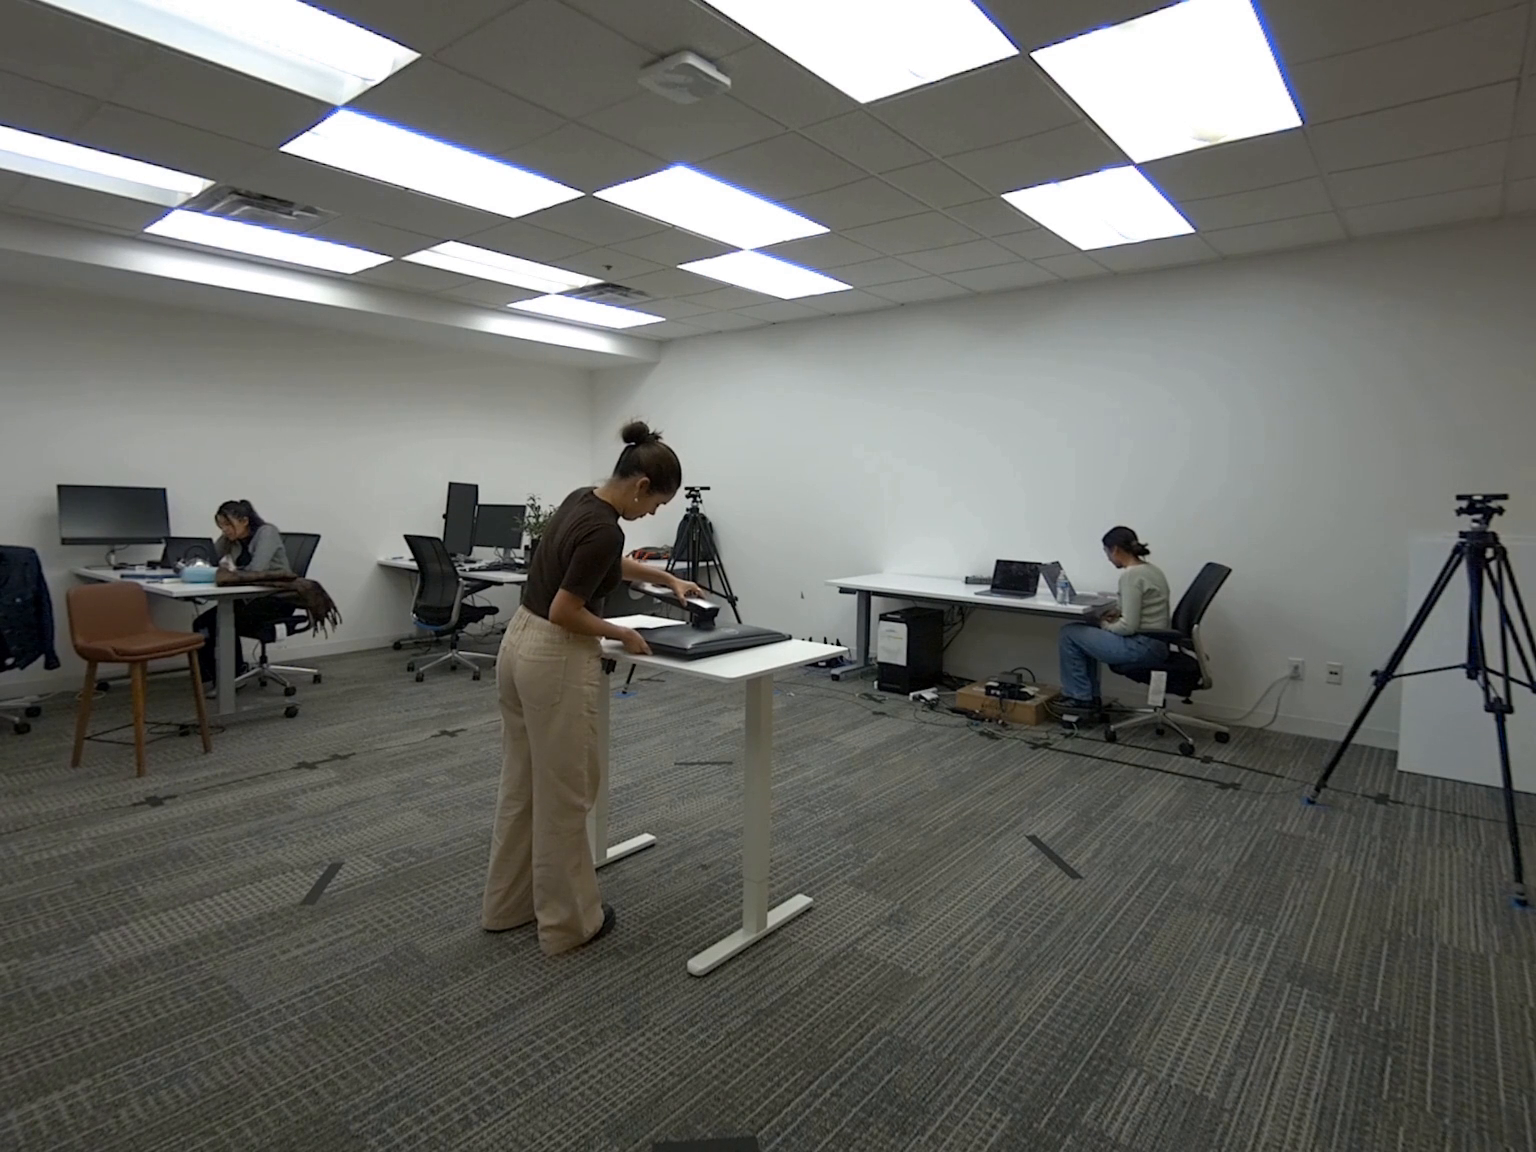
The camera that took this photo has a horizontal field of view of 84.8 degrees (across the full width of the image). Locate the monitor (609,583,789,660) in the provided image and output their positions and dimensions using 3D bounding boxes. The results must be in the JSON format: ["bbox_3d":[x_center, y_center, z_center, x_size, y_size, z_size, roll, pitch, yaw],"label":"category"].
[{"bbox_3d":[-0.287,0.141,2.833,0.543,0.185,0.523,25,19,36],"label":"monitor"}]
